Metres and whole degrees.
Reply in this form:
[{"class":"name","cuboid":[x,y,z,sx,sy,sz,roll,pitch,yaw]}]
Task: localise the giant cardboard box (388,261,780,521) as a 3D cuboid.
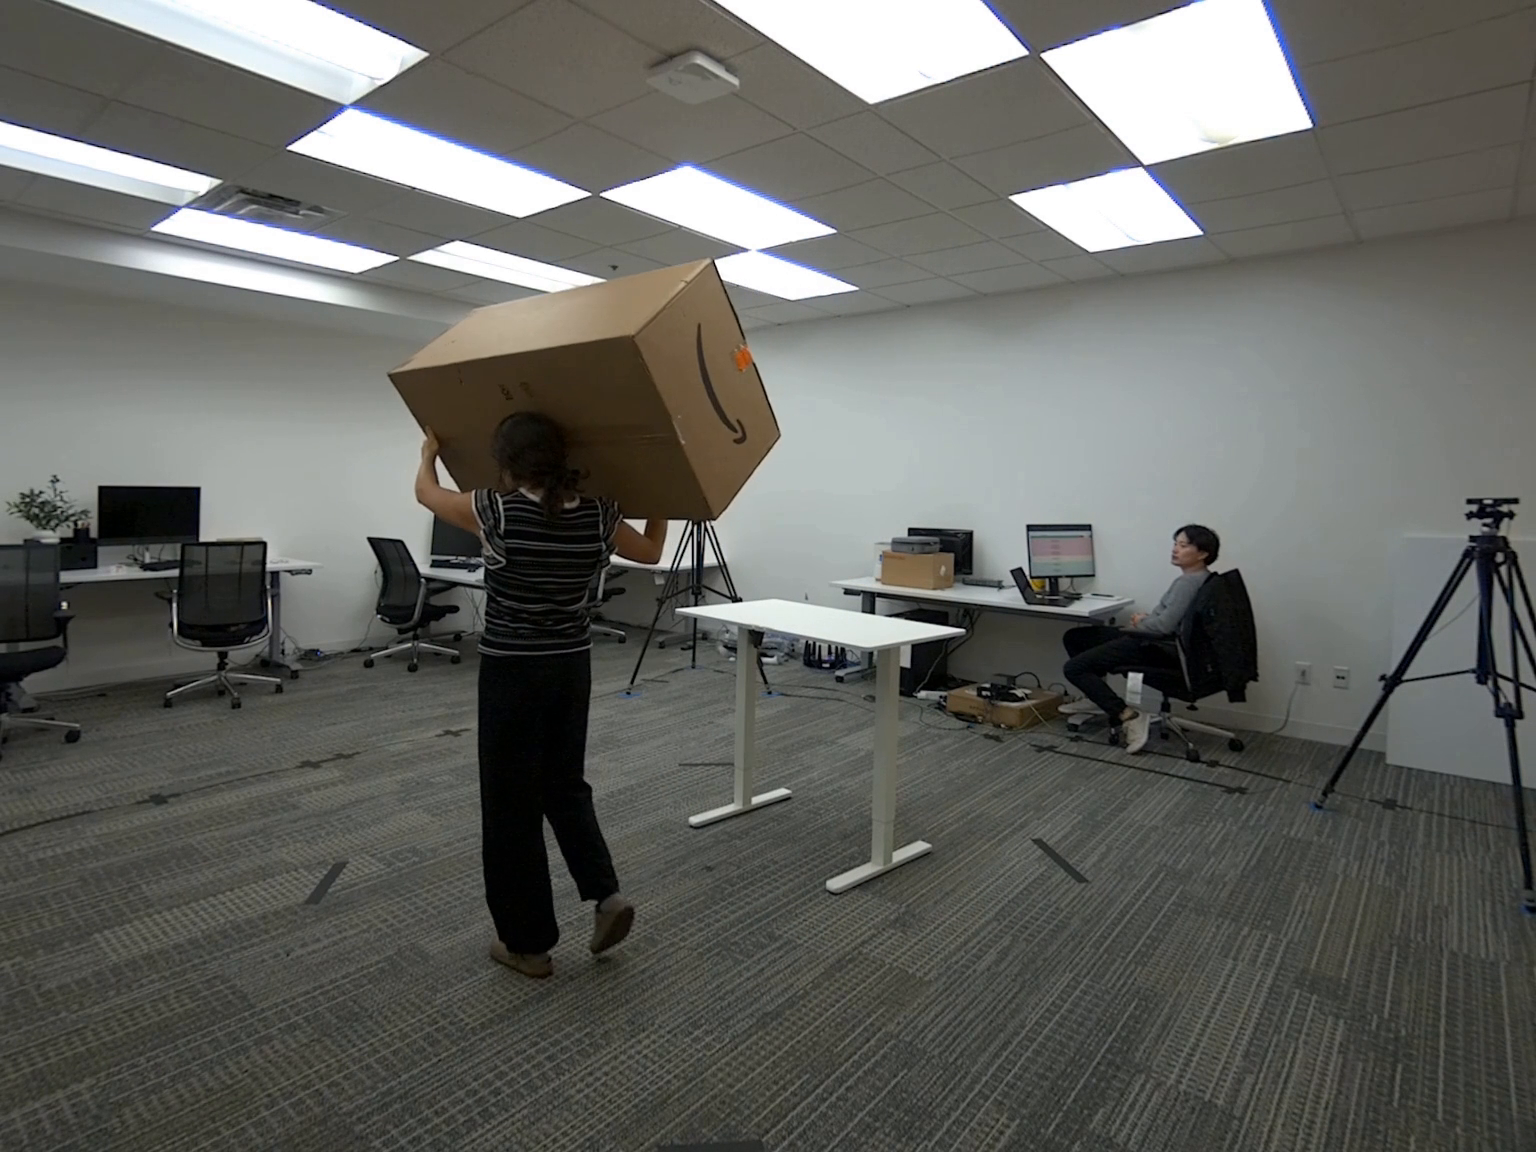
[{"class":"giant cardboard box","cuboid":[-0.573,-0.528,2.604,1.058,0.557,0.428,3,41,35]}]
